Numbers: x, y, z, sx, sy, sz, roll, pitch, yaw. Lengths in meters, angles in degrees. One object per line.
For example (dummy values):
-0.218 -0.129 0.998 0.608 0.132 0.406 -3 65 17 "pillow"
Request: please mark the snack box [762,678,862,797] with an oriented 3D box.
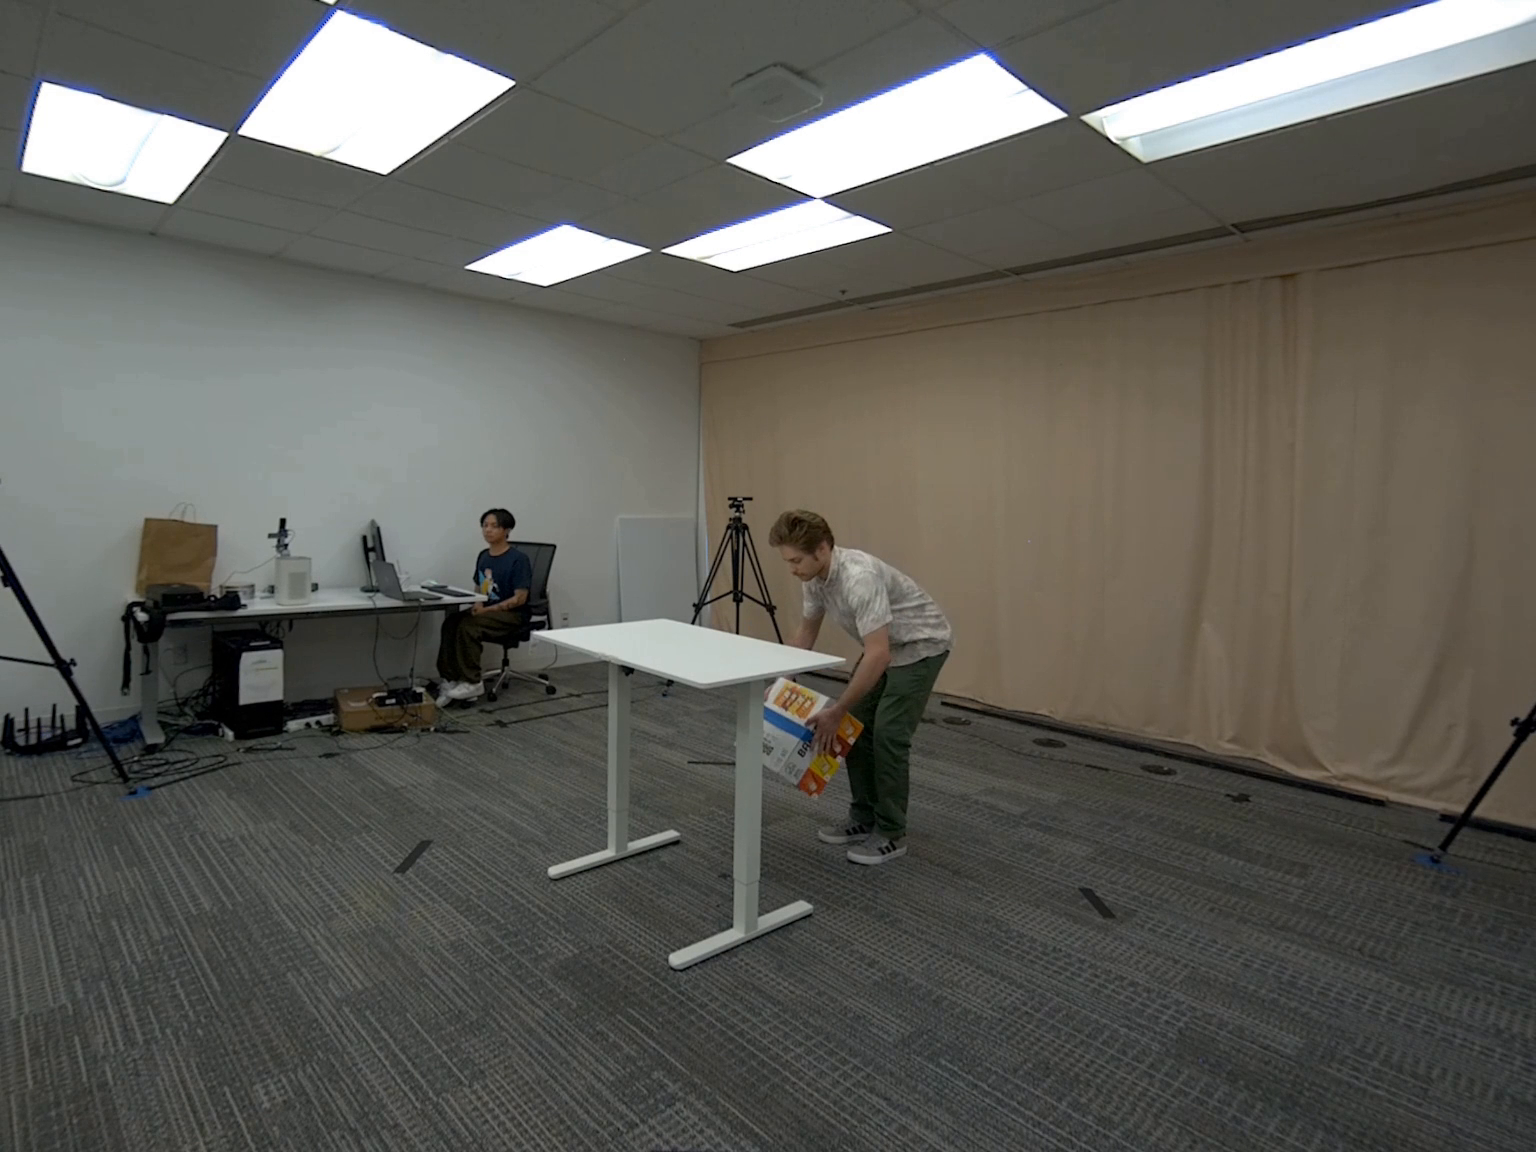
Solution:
0.108 0.629 3.334 0.201 0.341 0.413 41 -13 -23 "snack box"
